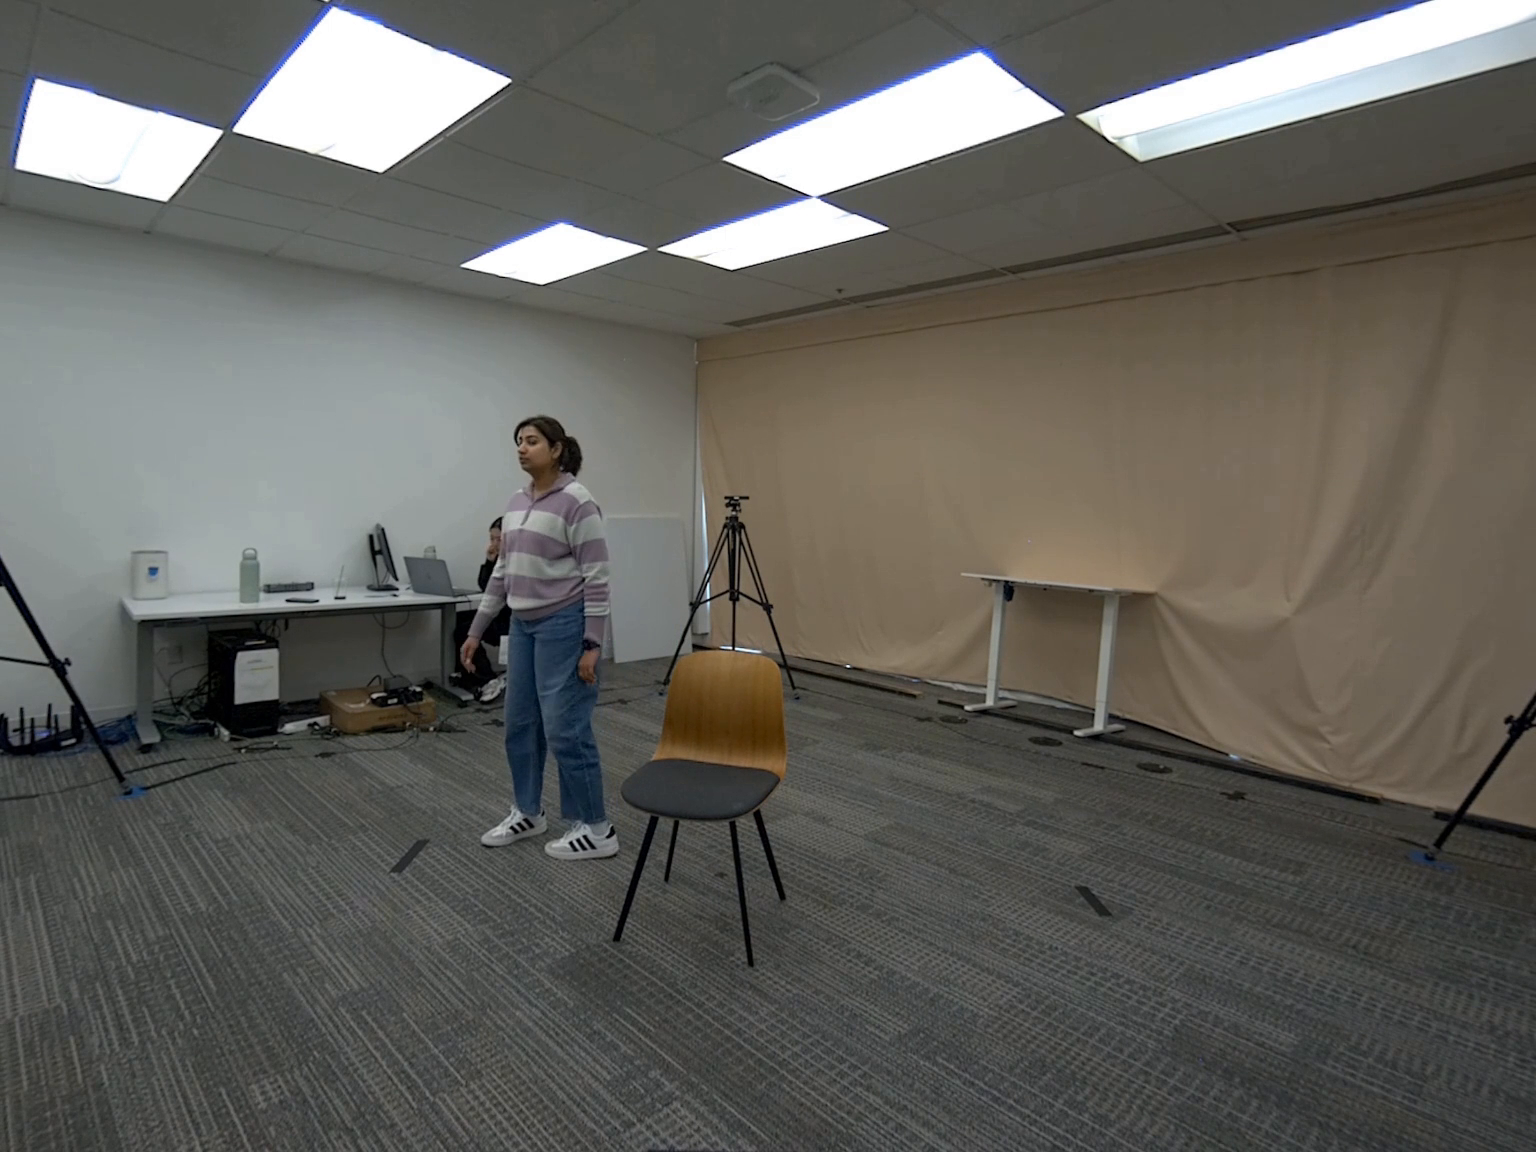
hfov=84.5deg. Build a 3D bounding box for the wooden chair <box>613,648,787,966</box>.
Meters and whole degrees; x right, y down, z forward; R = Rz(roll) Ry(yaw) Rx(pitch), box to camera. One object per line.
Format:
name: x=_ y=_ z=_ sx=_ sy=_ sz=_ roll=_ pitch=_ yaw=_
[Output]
wooden chair: x=-0.204 y=0.710 z=2.731 sx=0.484 sy=0.877 sz=0.516 roll=2 pitch=0 yaw=15
